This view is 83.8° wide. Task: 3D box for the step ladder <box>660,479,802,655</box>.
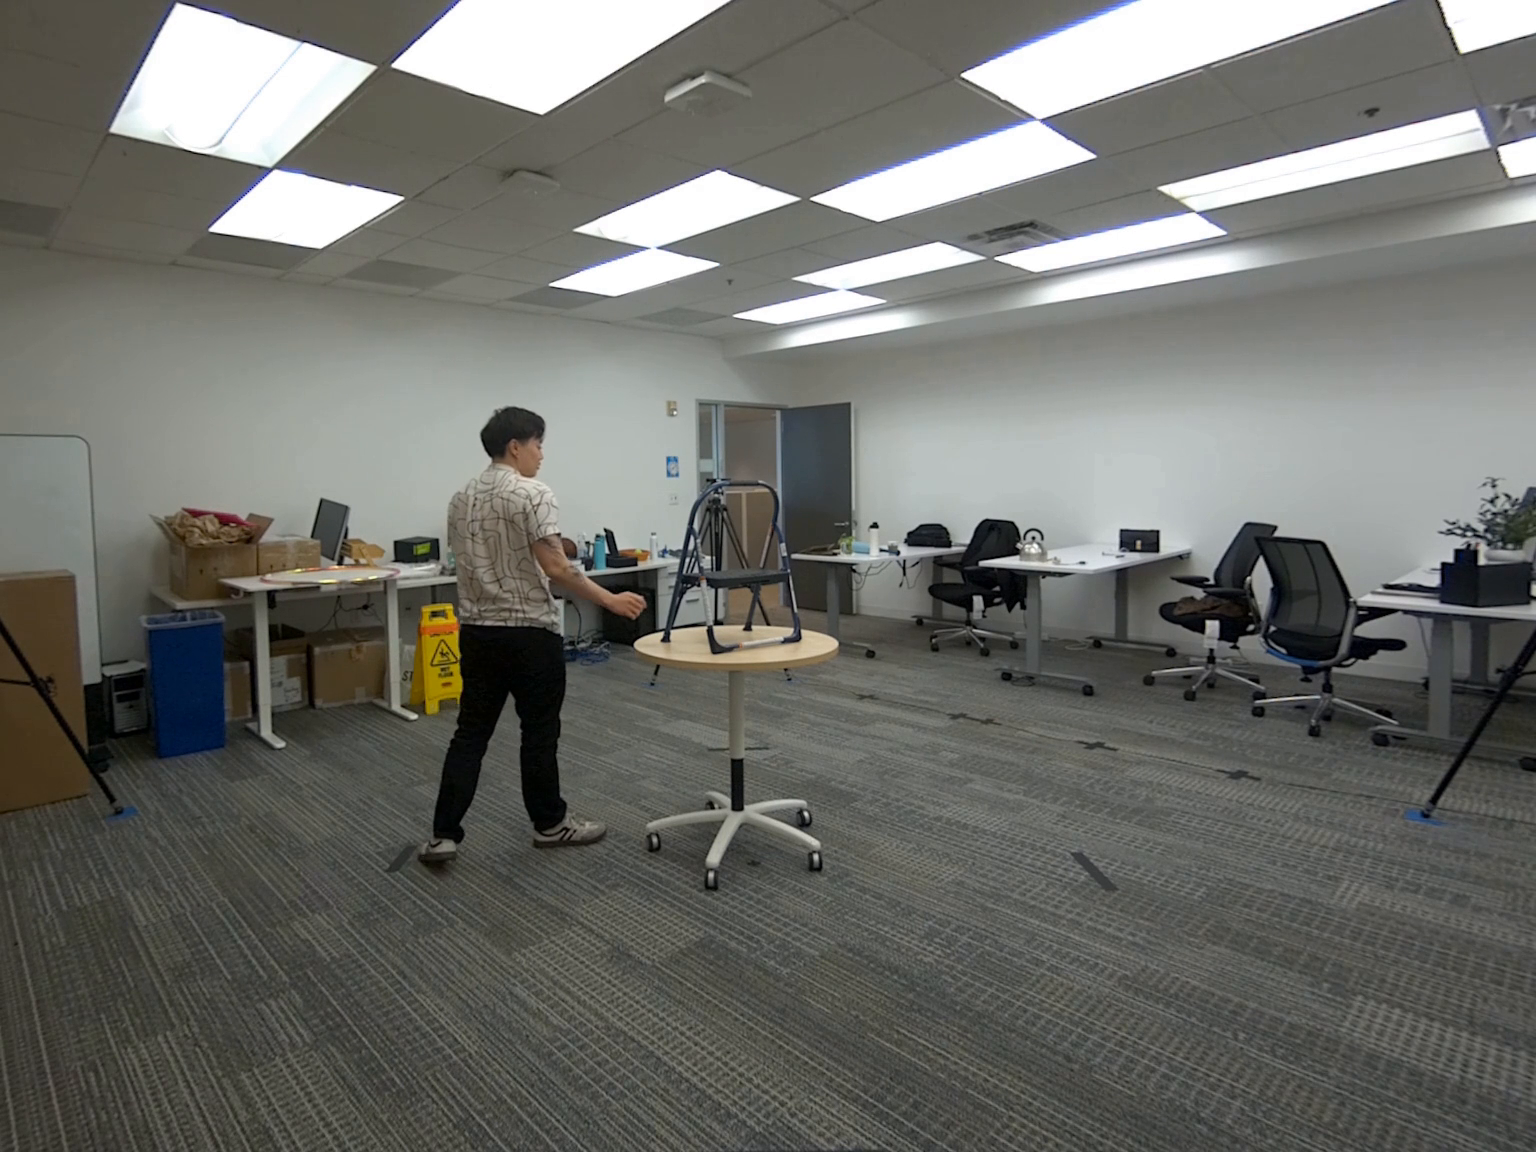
[{"bbox_3d":[-0.140,-0.053,3.215,0.419,0.604,0.360,-4,4,-39],"label":"step ladder"}]
